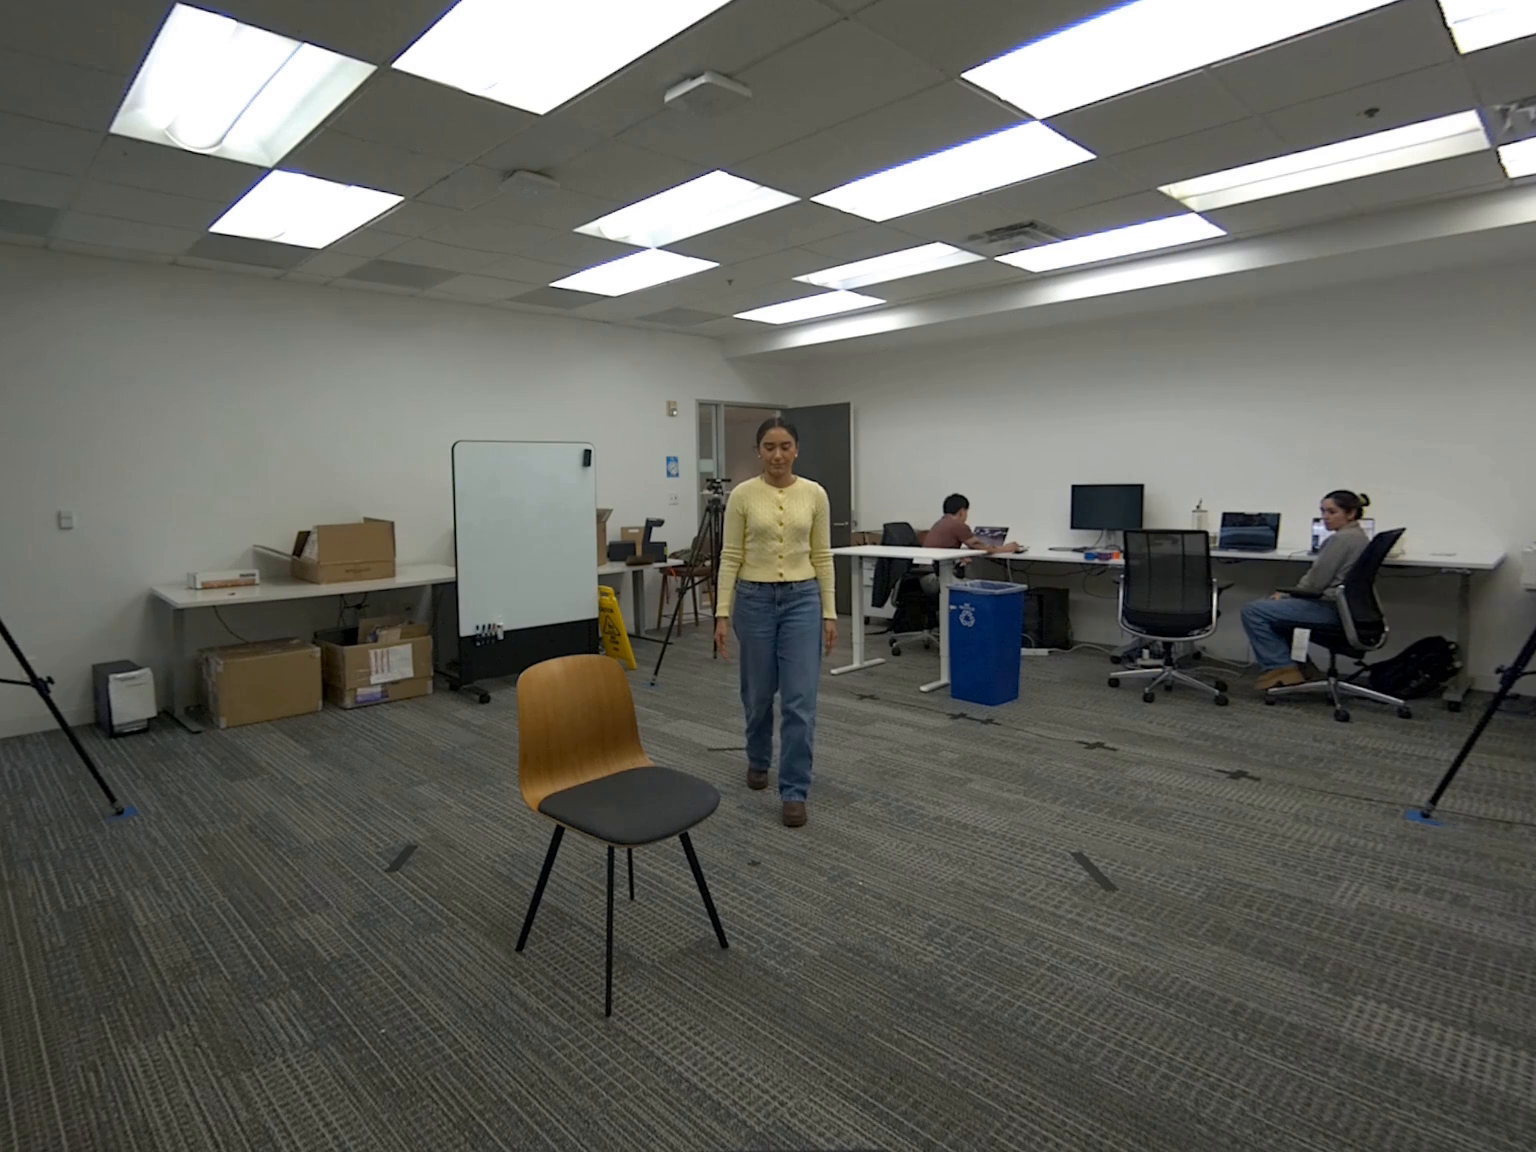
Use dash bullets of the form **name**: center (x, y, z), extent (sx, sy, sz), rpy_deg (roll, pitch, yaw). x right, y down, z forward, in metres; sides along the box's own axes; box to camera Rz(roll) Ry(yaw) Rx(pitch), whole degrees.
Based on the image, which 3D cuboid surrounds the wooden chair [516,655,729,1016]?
- **wooden chair**: center (-0.434, 0.693, 2.511), extent (0.538, 0.876, 0.465), rpy_deg (-2, 2, 44)
